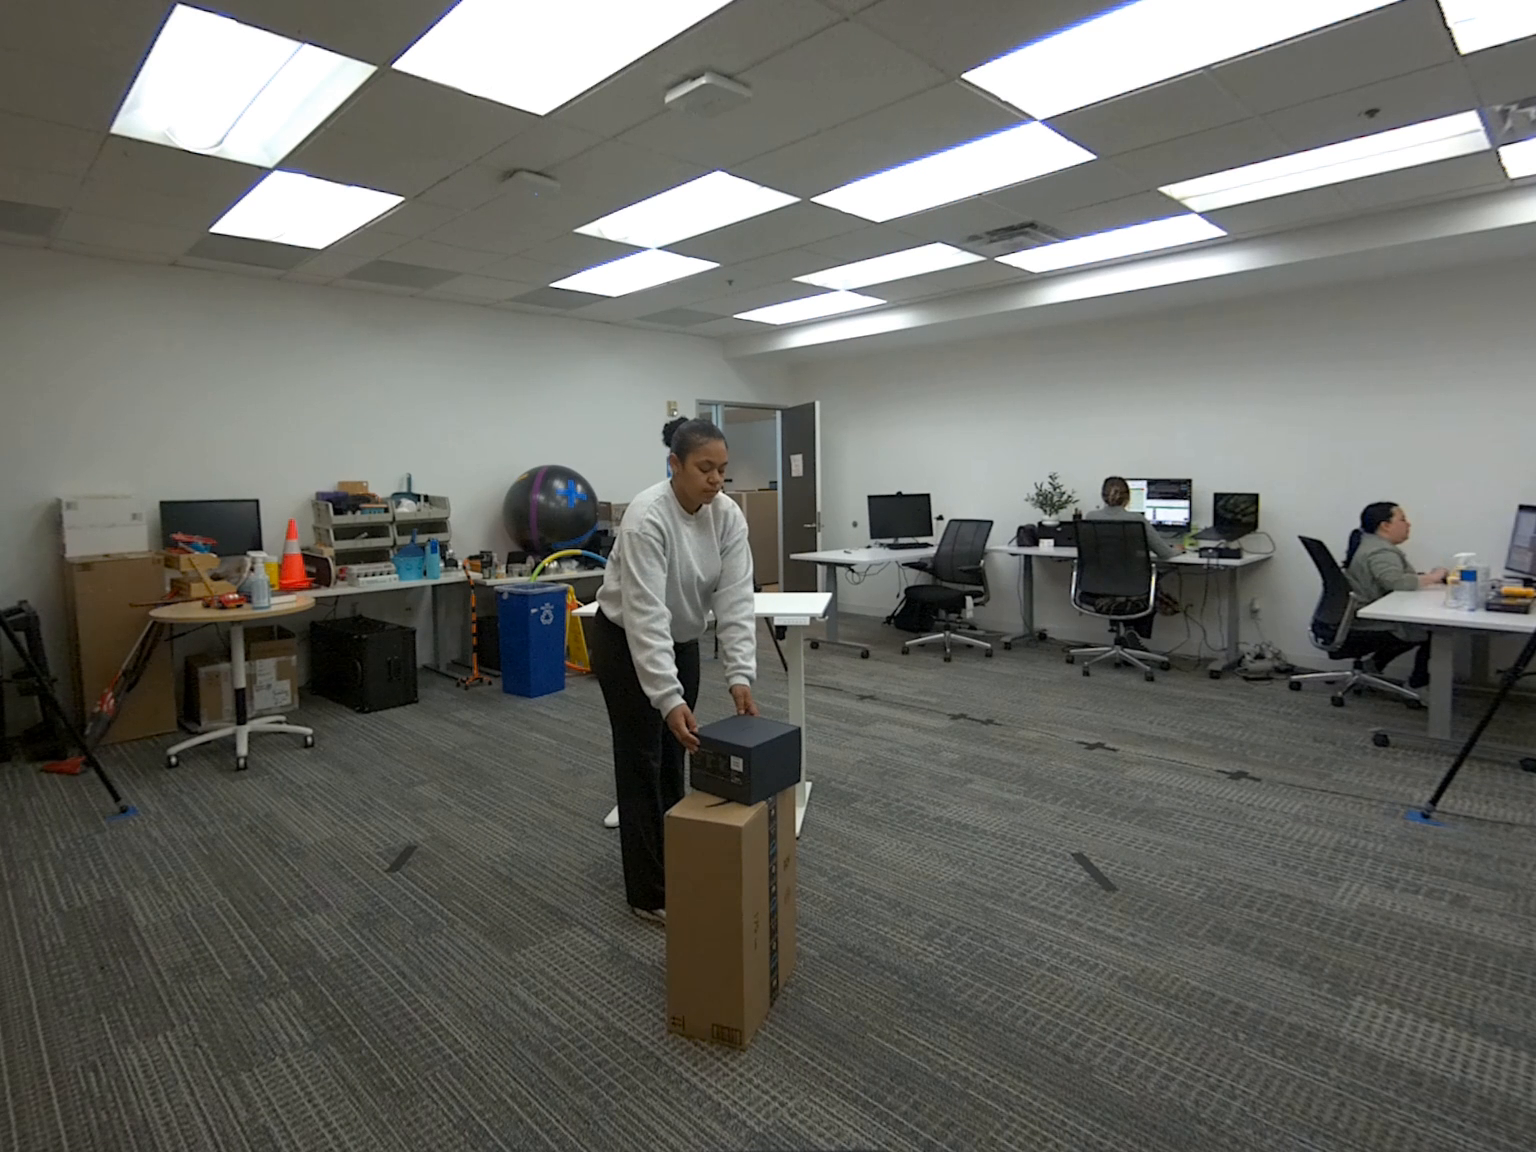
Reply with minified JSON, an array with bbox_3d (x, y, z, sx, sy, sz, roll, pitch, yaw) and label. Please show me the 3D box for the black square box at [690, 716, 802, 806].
[{"bbox_3d":[-0.065,0.493,2.329,0.223,0.155,0.222,4,8,39],"label":"black square box"}]
